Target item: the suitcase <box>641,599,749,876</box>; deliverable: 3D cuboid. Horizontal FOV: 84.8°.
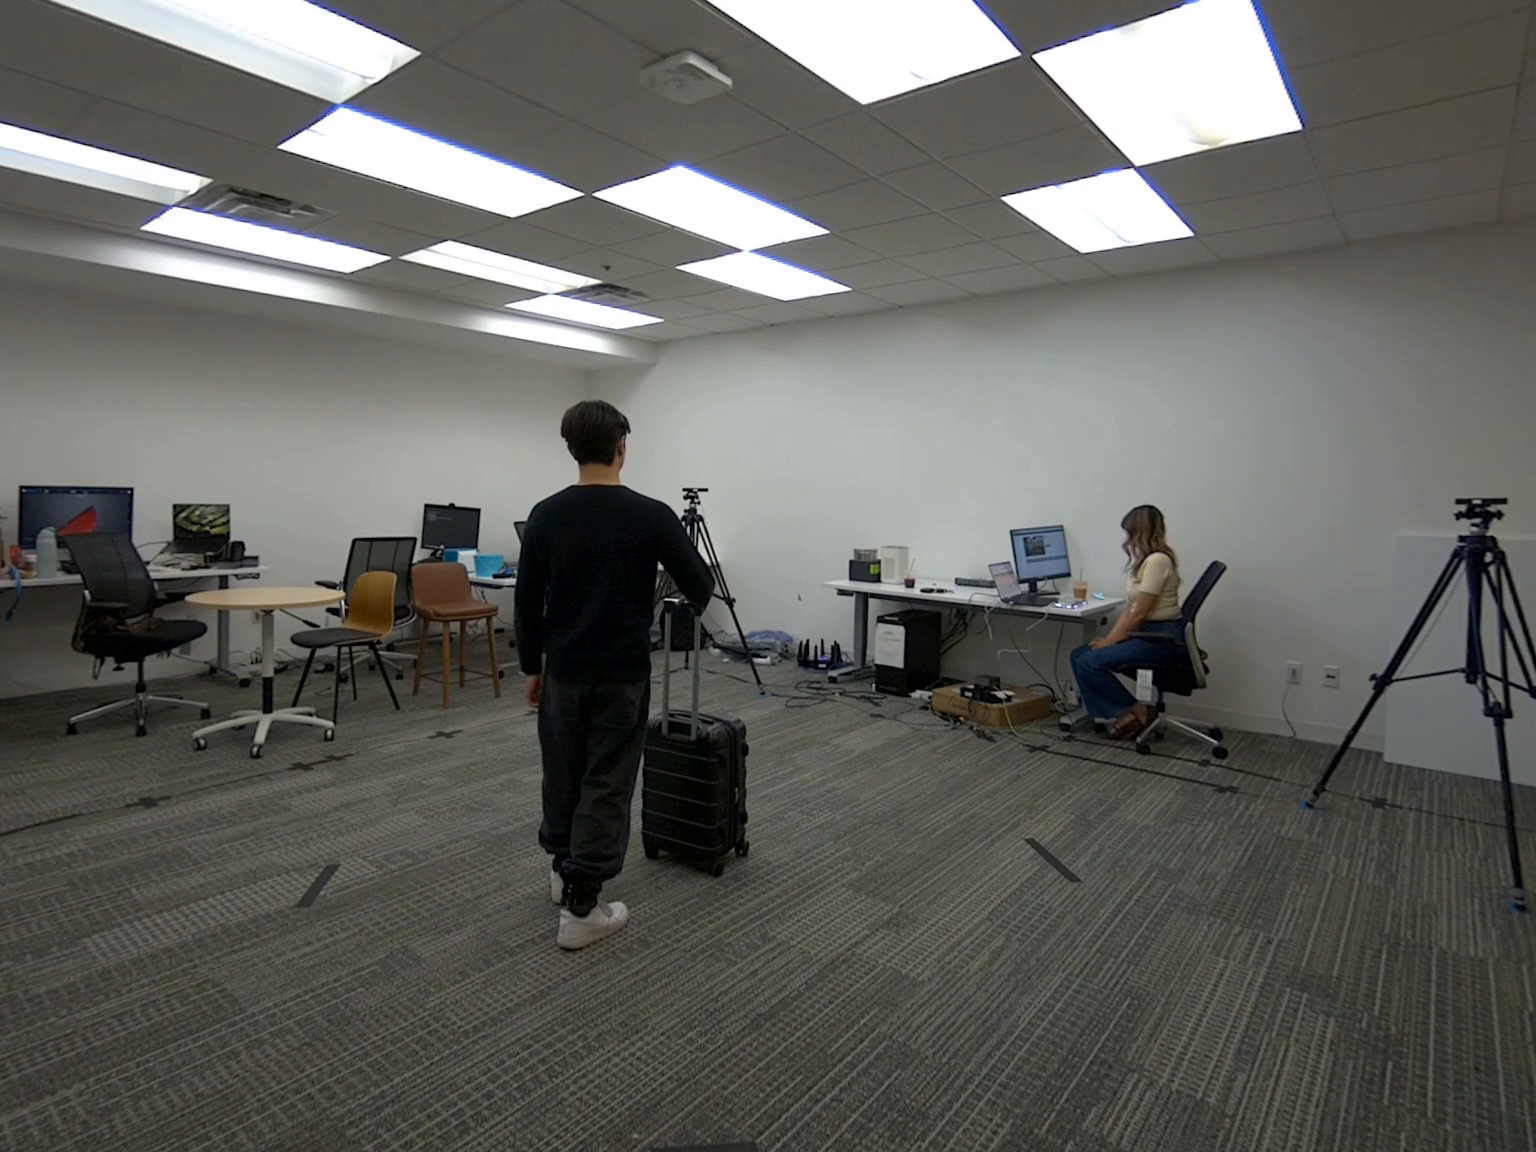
[{"bbox_3d":[-0.277,0.579,3.205,0.395,0.977,0.250,3,2,30],"label":"suitcase"}]
